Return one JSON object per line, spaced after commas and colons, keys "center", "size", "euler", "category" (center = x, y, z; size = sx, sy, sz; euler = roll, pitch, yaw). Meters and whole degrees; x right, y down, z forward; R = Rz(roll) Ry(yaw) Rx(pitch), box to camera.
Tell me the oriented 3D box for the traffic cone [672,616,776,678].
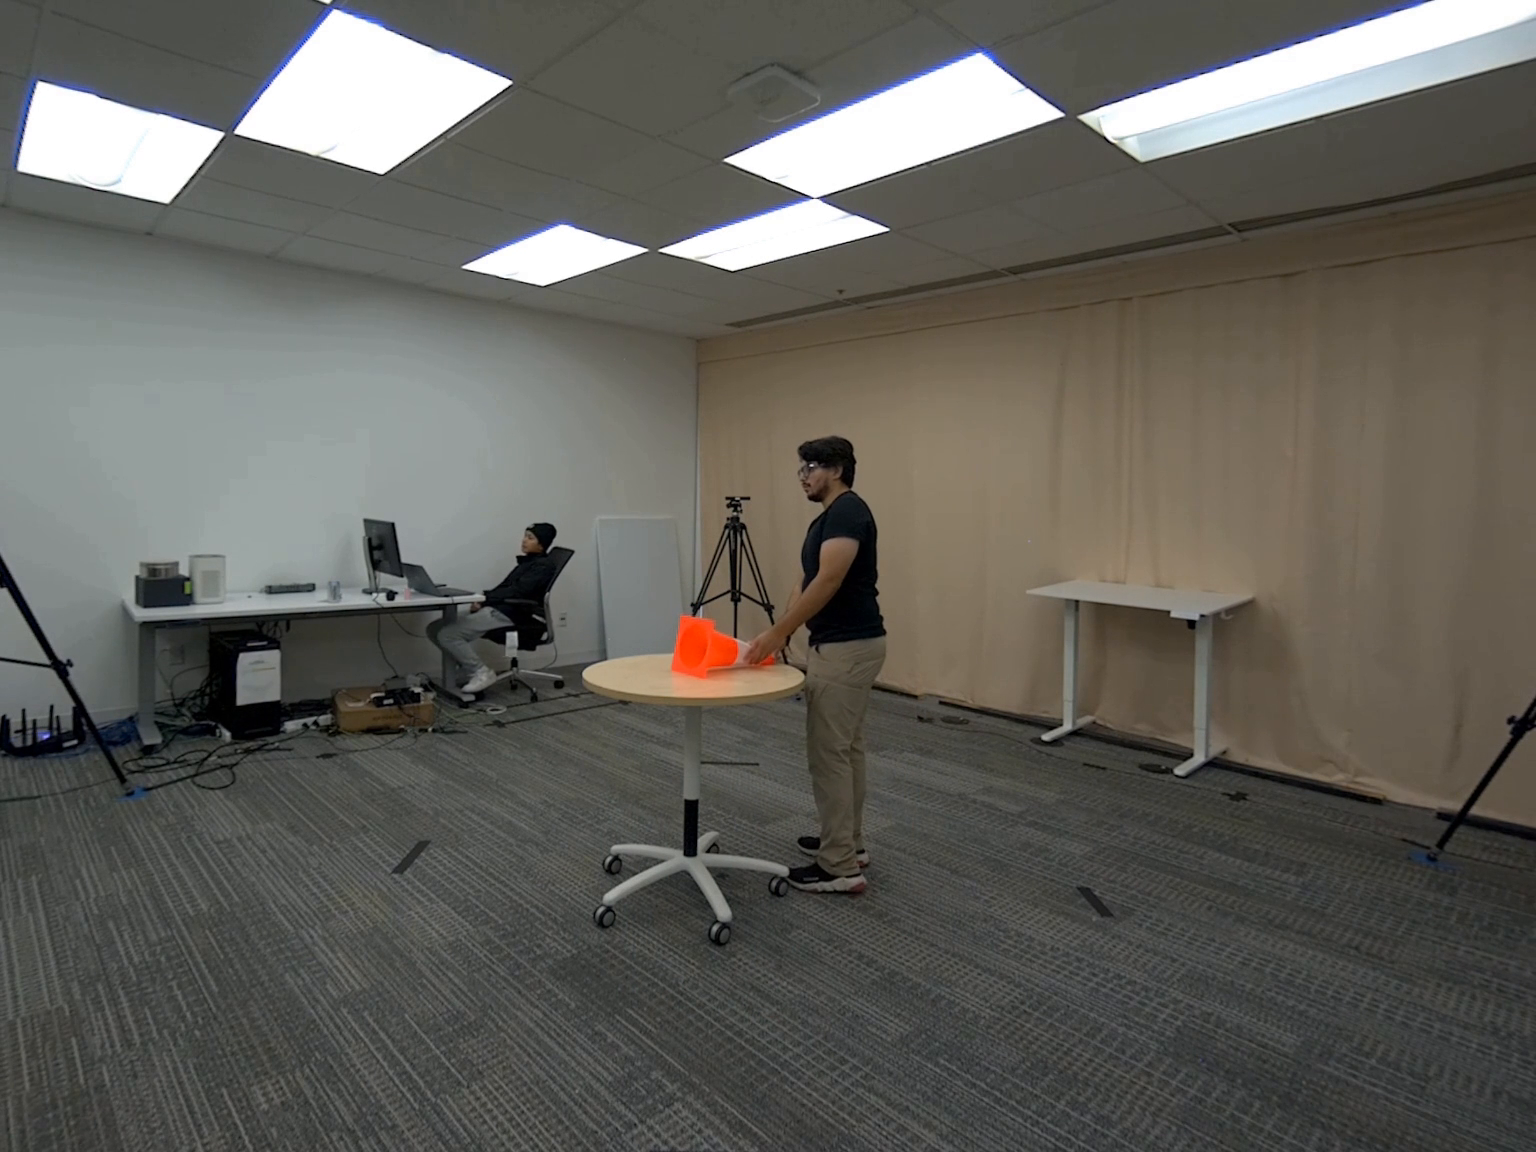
{"center": [-0.136, 0.280, 3.008], "size": [0.373, 0.204, 0.210], "euler": [14, -5, -39], "category": "traffic cone"}
